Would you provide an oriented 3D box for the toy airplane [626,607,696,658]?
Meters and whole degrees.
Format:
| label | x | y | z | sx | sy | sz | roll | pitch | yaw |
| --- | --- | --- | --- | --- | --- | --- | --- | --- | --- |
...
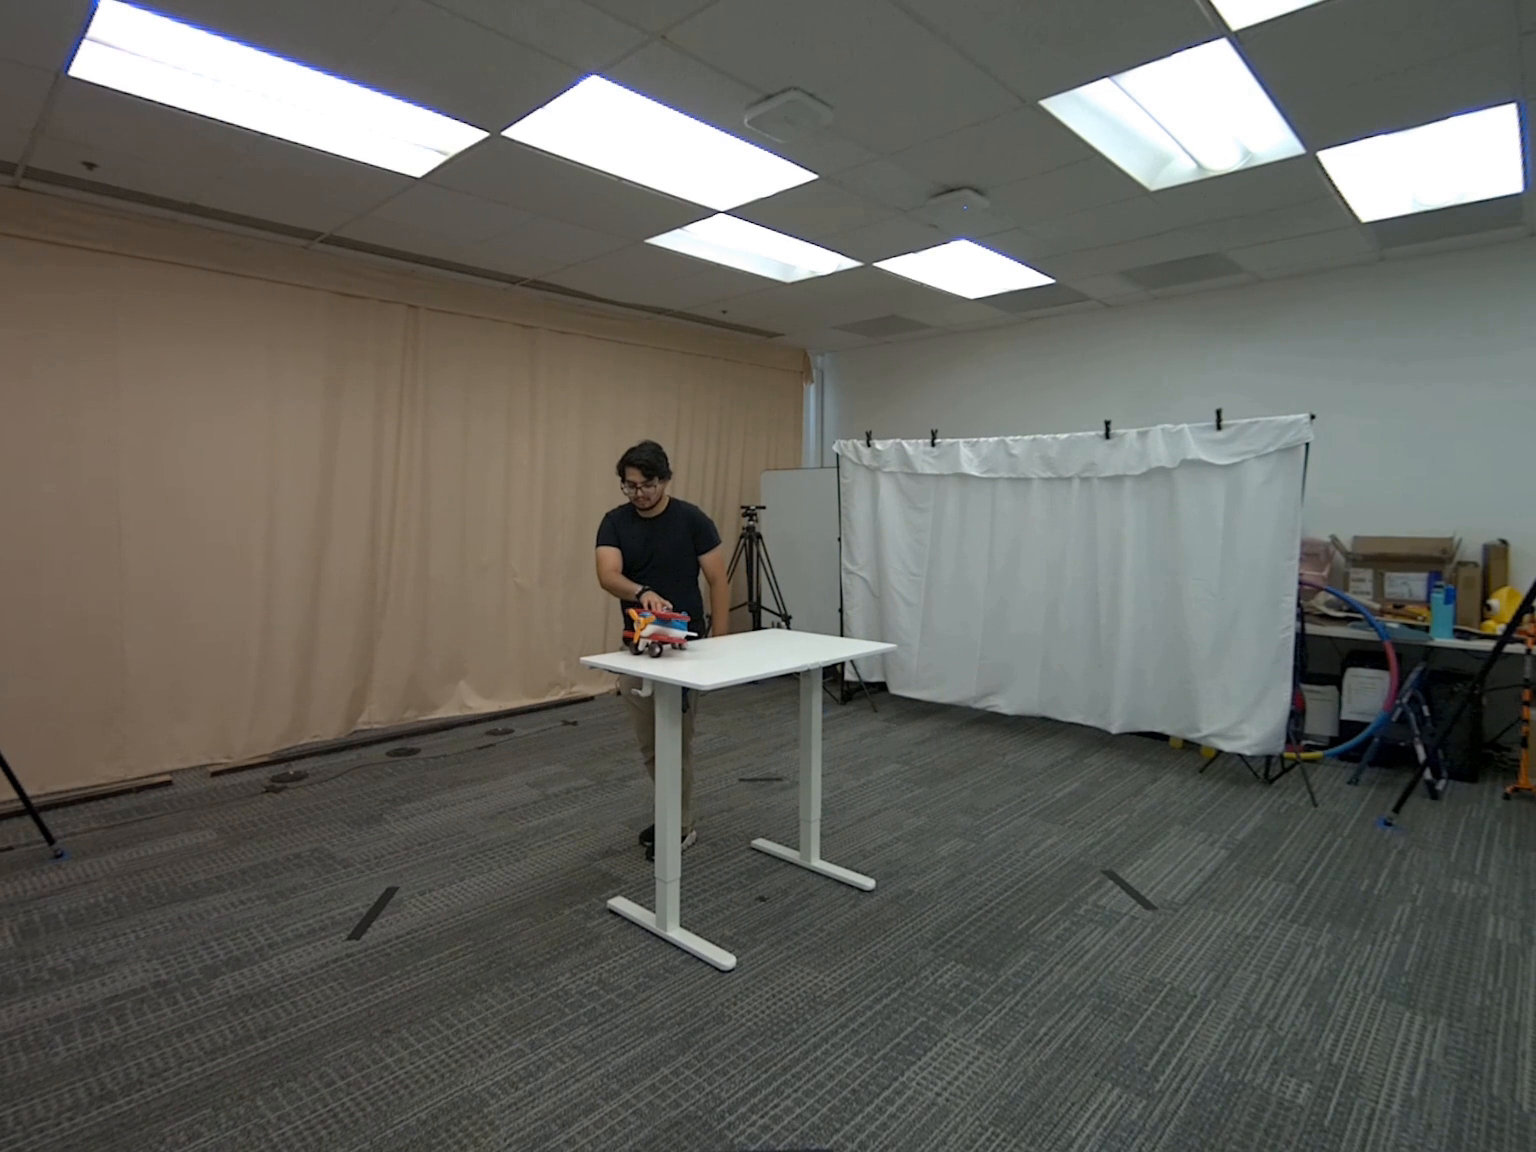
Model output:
| label | x | y | z | sx | sy | sz | roll | pitch | yaw |
| --- | --- | --- | --- | --- | --- | --- | --- | --- | --- |
| toy airplane | -0.384 | 0.187 | 2.913 | 0.253 | 0.156 | 0.258 | 2 | 5 | 6 |
